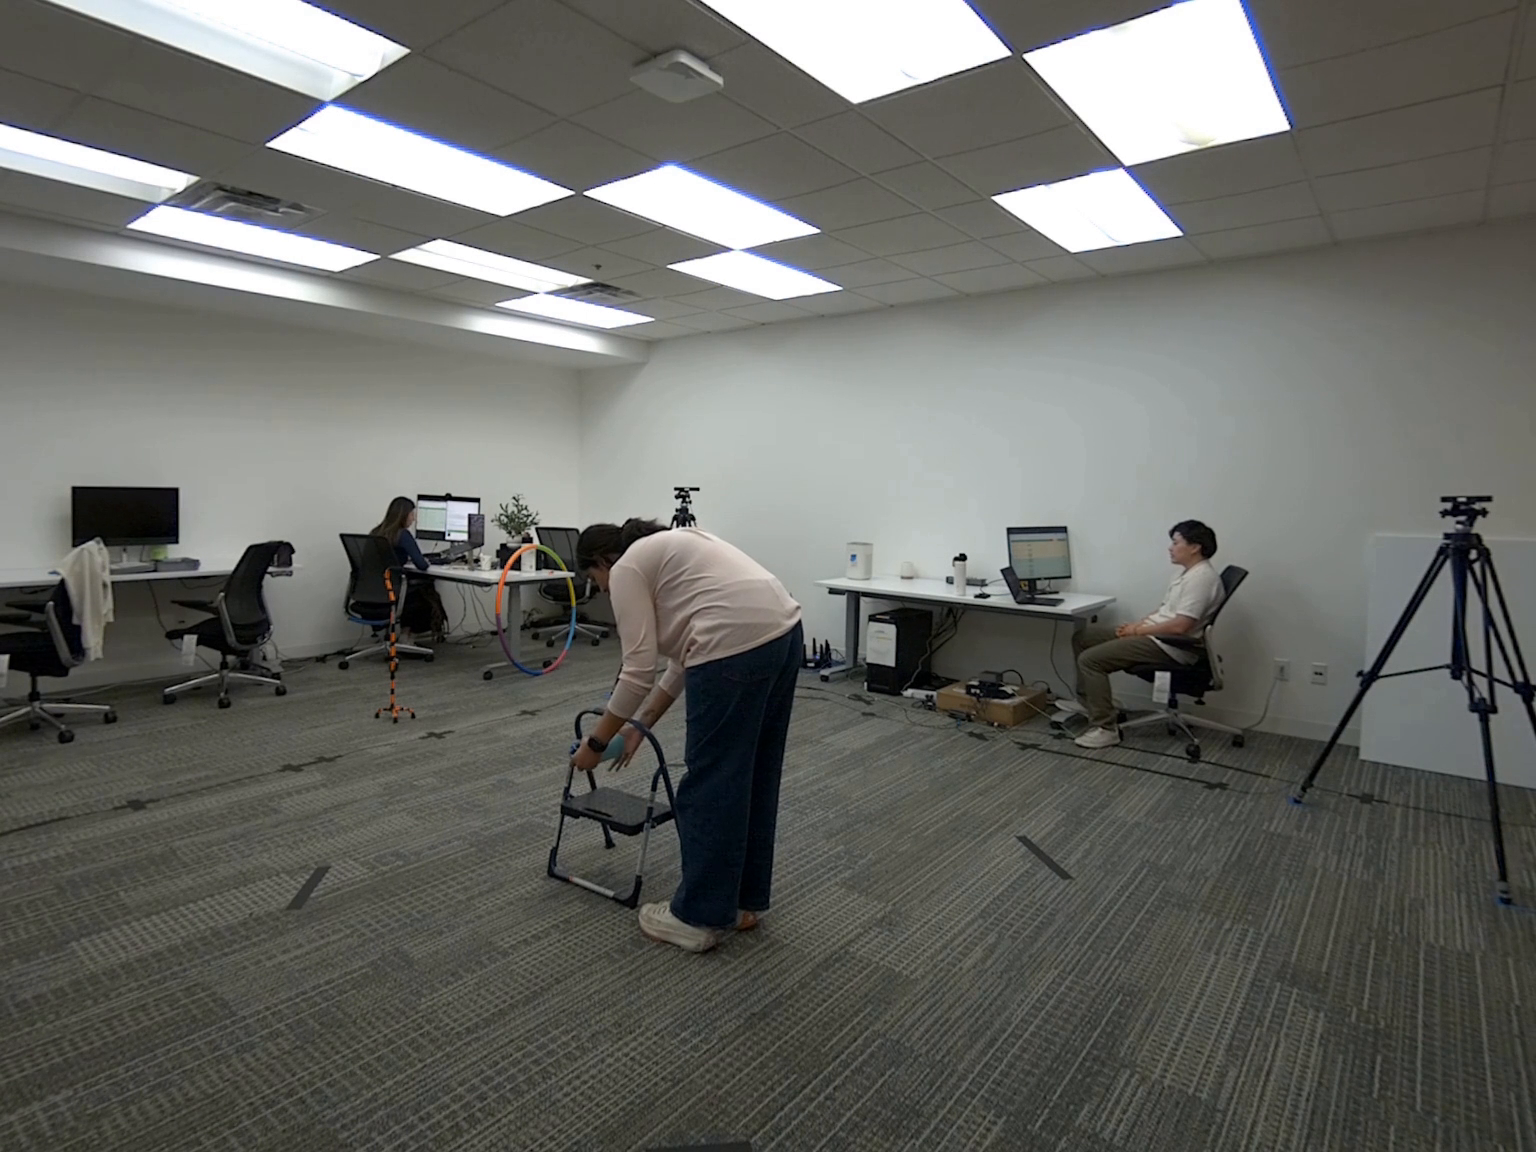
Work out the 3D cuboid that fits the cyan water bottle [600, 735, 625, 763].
[{"bbox_3d":[-0.571,0.563,2.770,0.094,0.093,0.277,2,-4,13],"label":"cyan water bottle"}]
